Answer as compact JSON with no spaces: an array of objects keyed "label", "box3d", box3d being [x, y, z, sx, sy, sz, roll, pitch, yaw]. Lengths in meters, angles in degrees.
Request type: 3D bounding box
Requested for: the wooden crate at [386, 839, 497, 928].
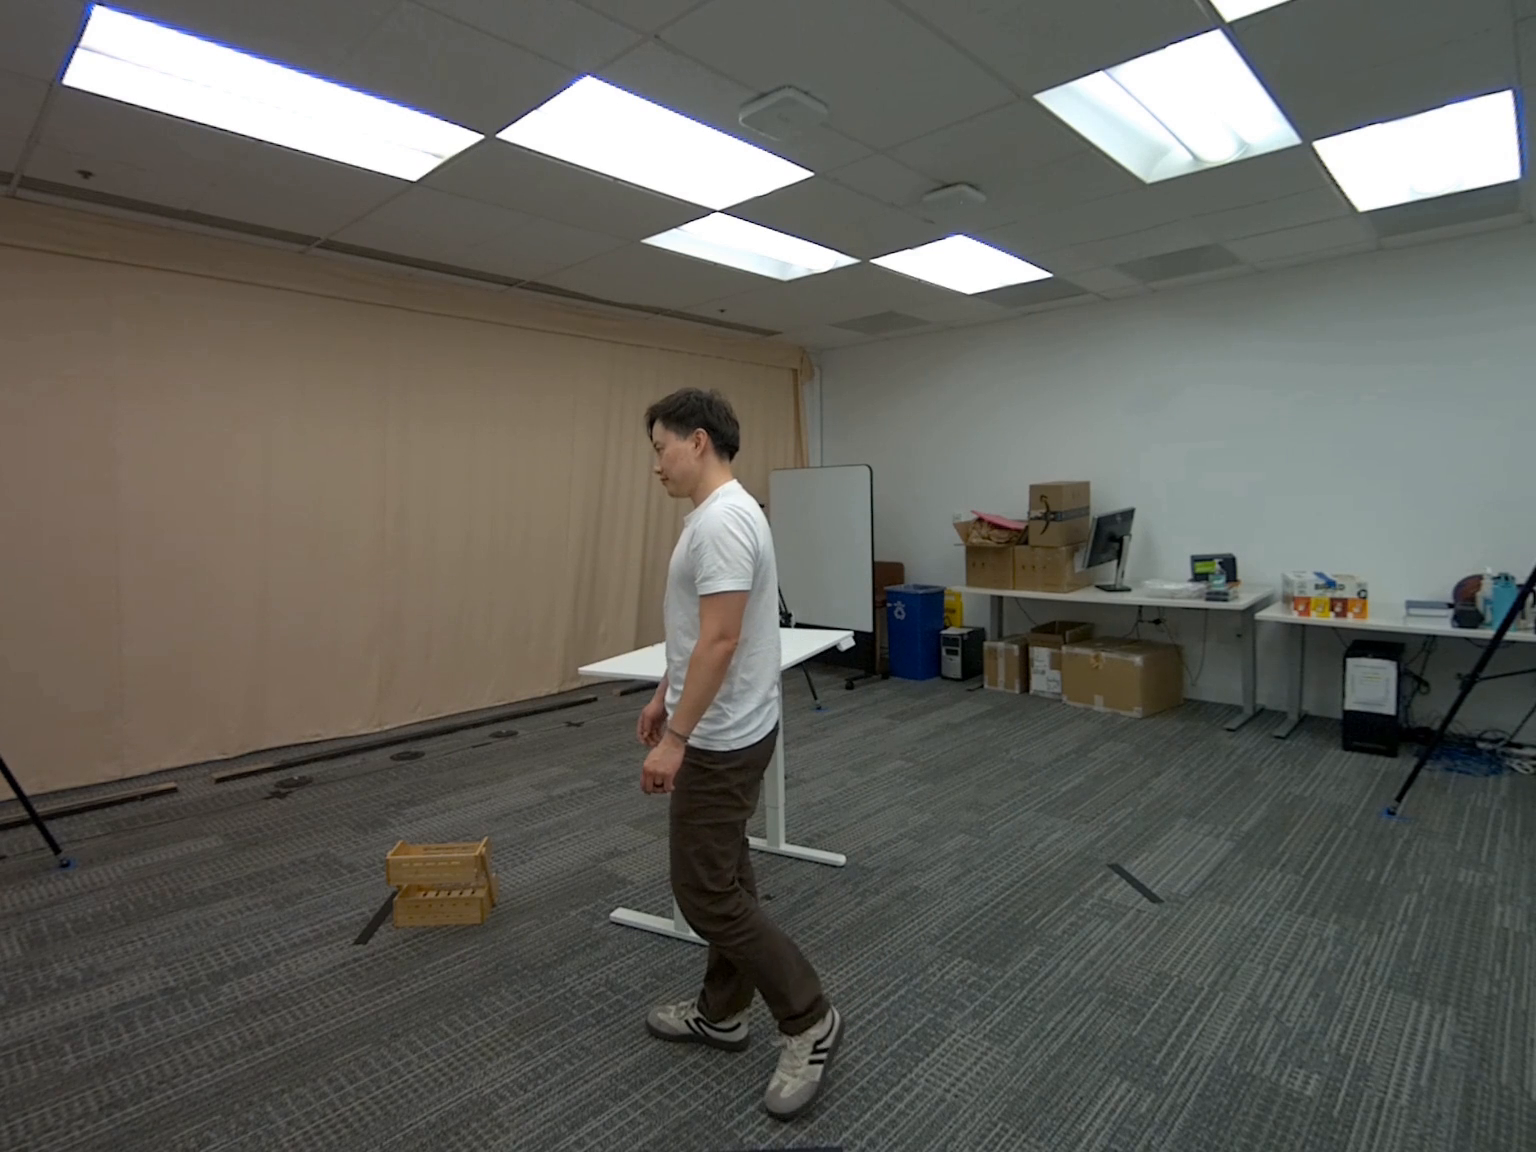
[{"label":"wooden crate","box3d":[-1.131,1.038,2.931,0.323,0.272,0.304,-1,4,-5]}]
